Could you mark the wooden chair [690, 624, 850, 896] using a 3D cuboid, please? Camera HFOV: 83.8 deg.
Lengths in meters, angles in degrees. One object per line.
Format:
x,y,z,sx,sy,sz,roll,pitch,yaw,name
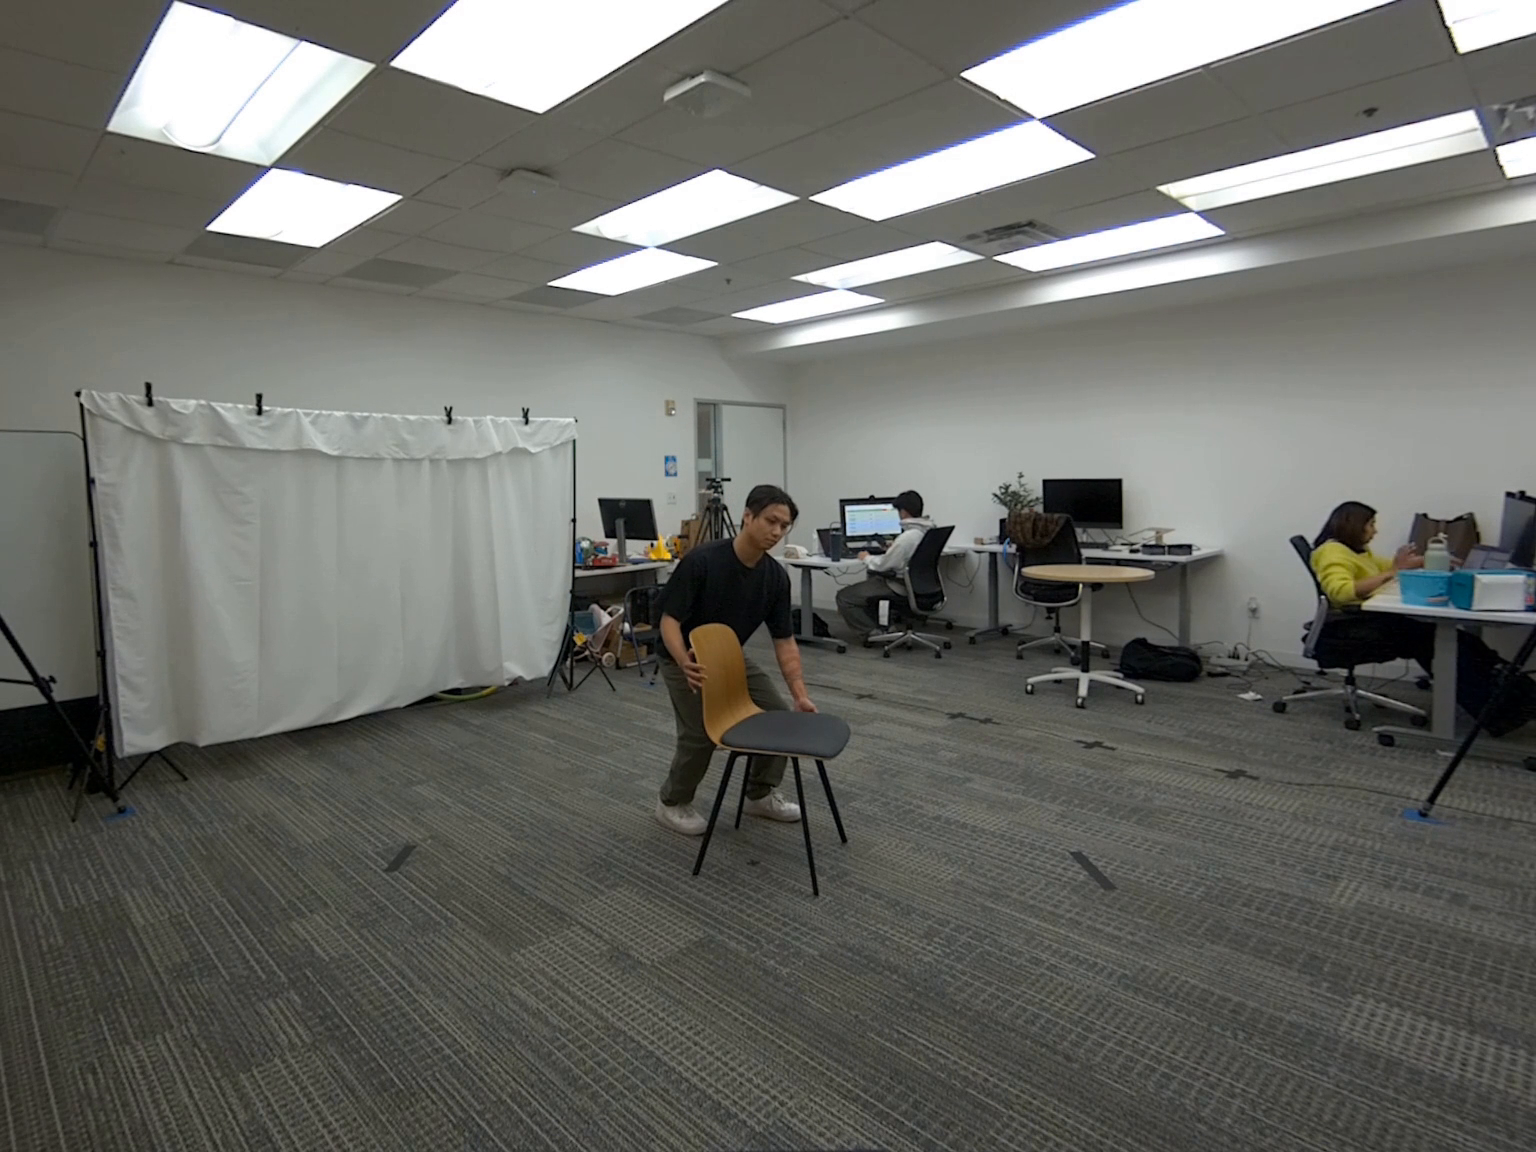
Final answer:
0.019,0.616,3.100,0.532,0.876,0.471,-4,2,20,wooden chair
